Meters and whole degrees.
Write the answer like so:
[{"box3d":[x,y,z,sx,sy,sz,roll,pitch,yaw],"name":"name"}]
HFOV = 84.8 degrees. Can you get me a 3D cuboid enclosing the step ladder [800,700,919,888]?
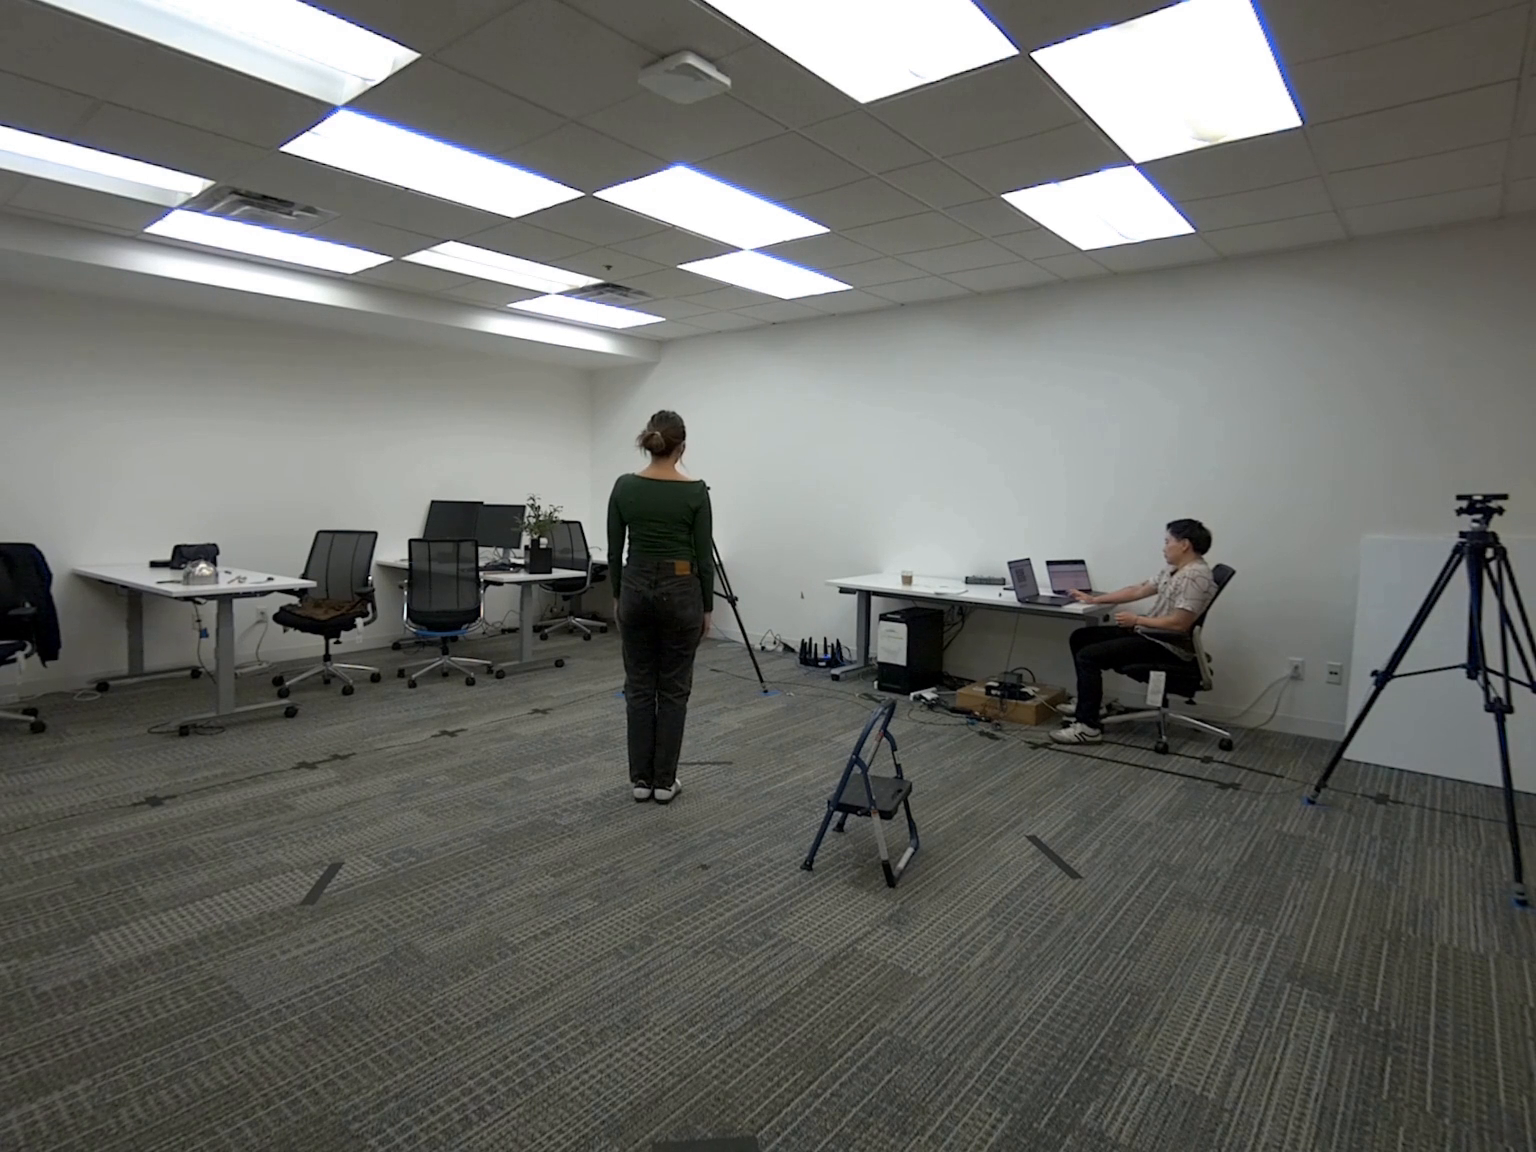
[{"box3d":[0.356,0.760,3.215,0.358,0.604,0.422,3,4,23],"name":"step ladder"}]
